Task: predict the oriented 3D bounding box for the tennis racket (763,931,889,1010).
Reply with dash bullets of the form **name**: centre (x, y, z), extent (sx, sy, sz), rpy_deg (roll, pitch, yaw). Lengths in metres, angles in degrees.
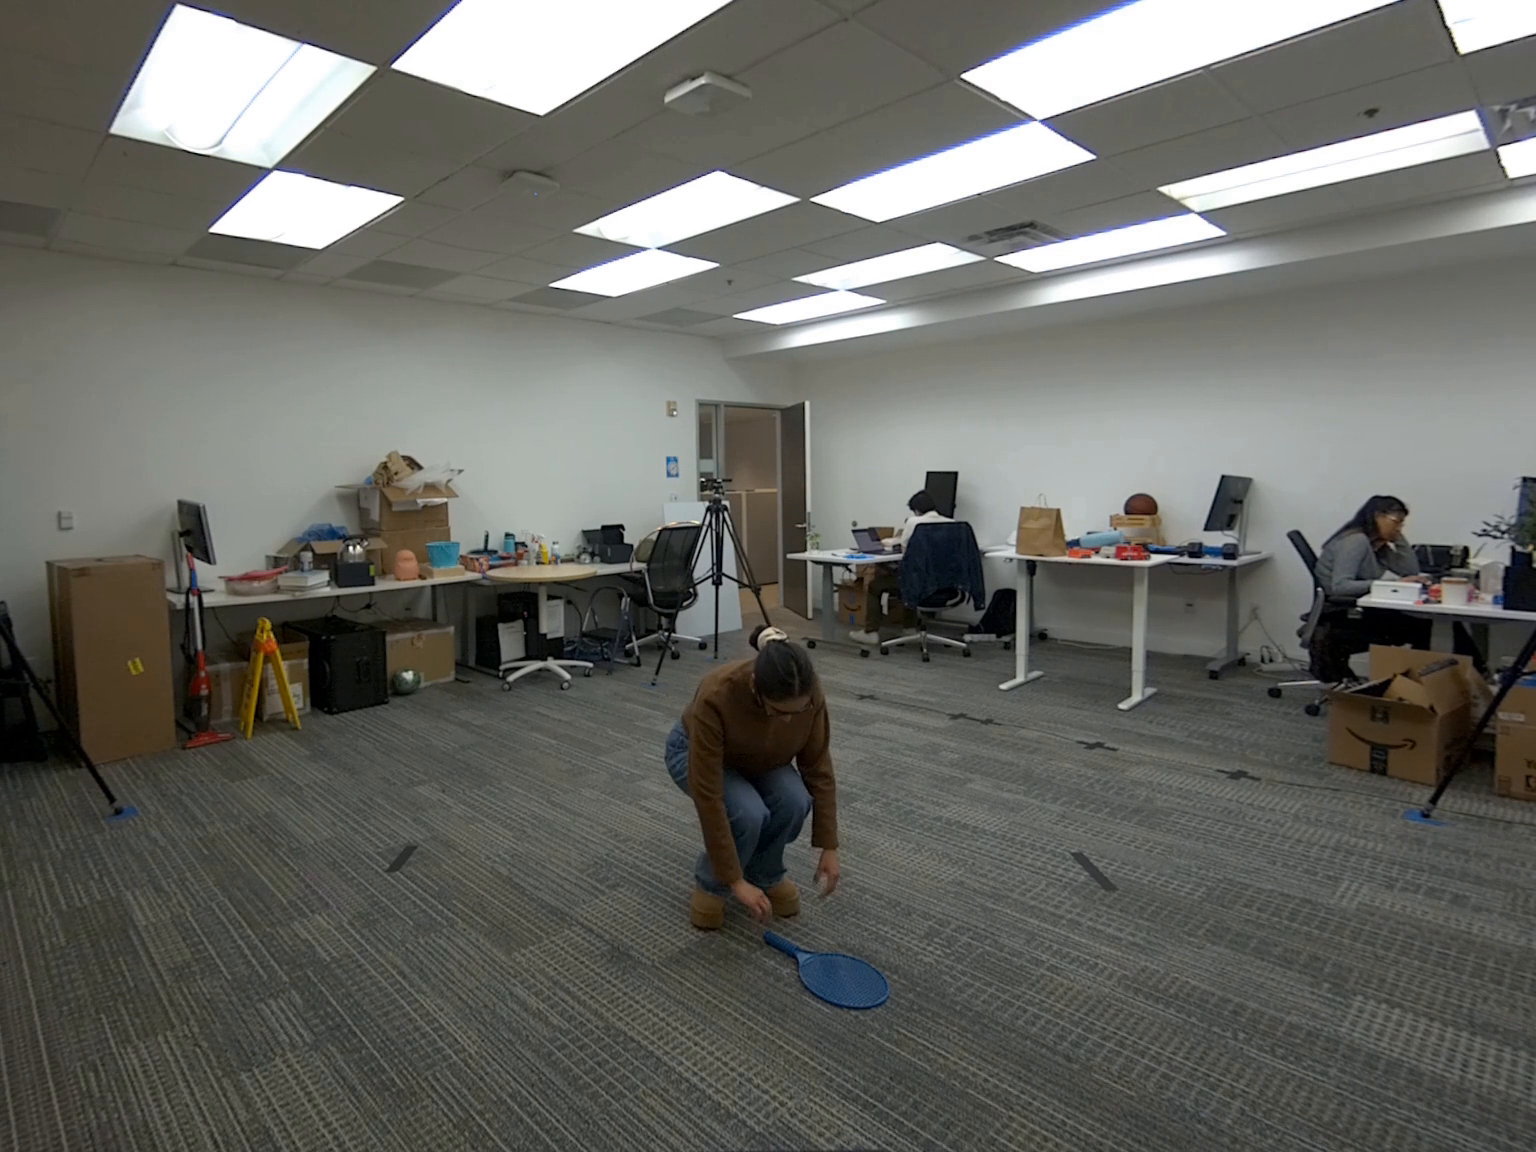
- **tennis racket**: centre (0.157, 1.106, 2.427), extent (0.208, 0.031, 0.447), rpy_deg (-6, 9, -41)
